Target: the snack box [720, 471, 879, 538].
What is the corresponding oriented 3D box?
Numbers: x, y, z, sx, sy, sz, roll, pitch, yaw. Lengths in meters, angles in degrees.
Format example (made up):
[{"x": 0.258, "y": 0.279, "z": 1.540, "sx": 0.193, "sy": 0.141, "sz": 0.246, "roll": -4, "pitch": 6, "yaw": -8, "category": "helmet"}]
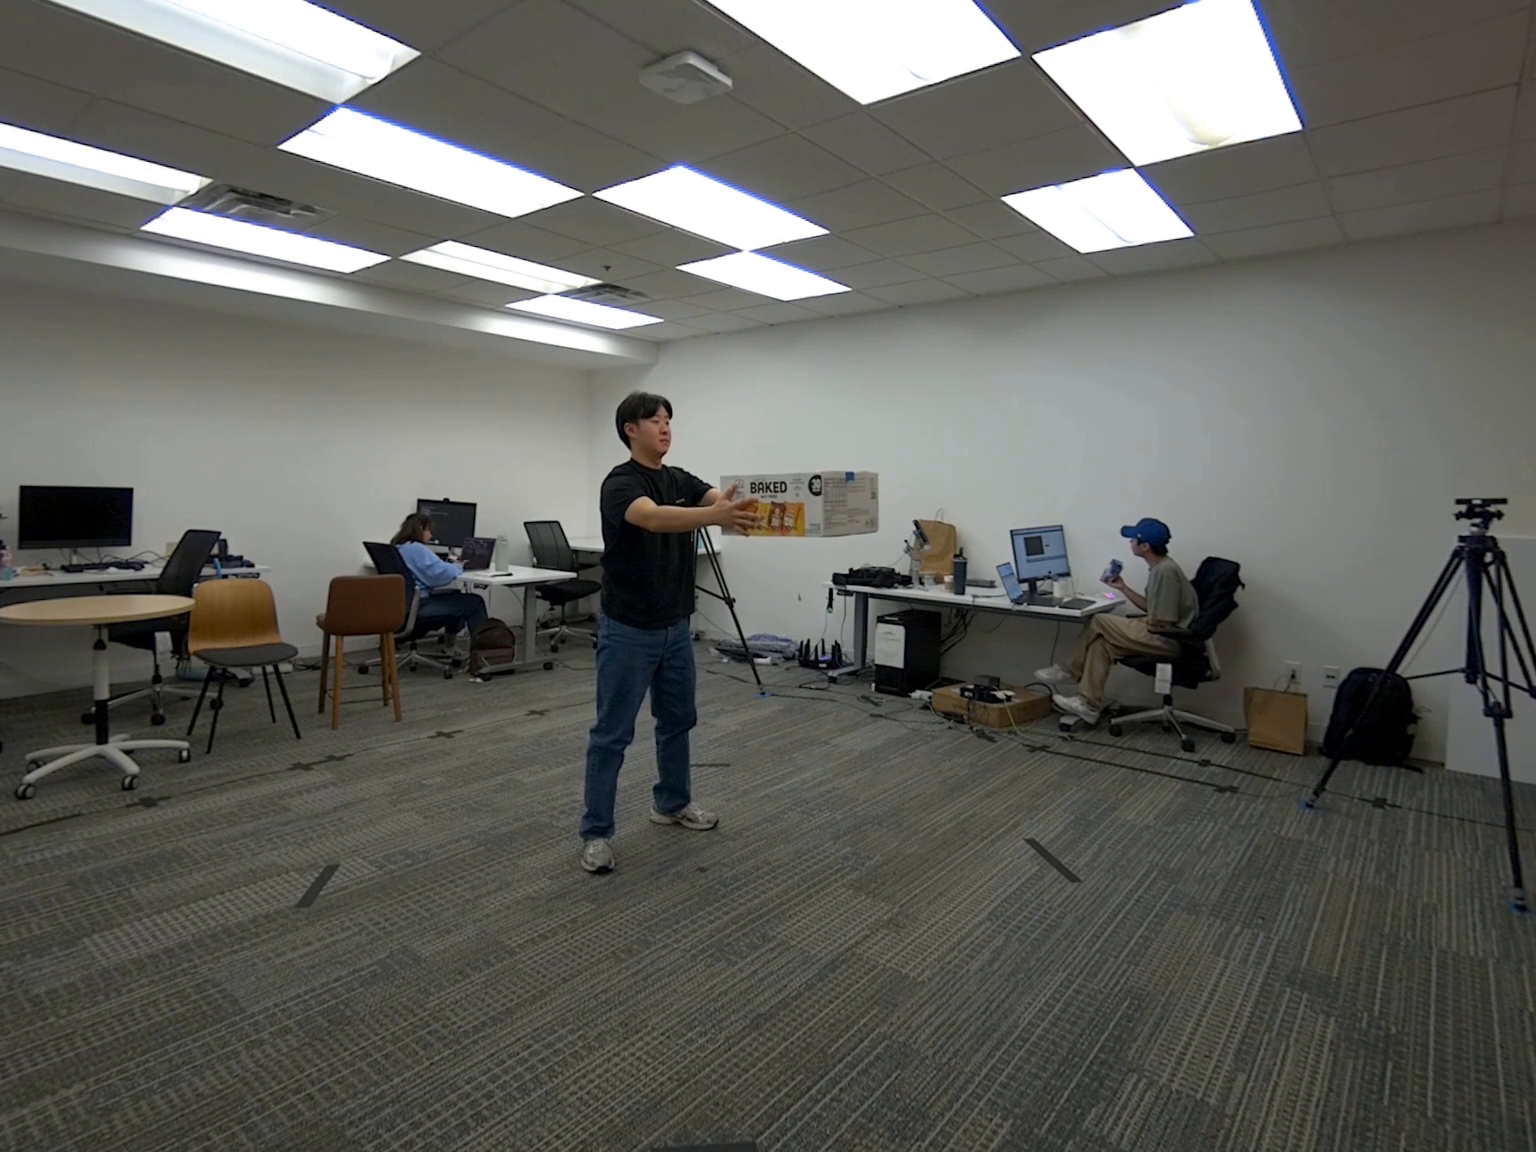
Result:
[{"x": 0.098, "y": -0.241, "z": 2.838, "sx": 0.418, "sy": 0.205, "sz": 0.331, "roll": 3, "pitch": 7, "yaw": 38, "category": "snack box"}]
